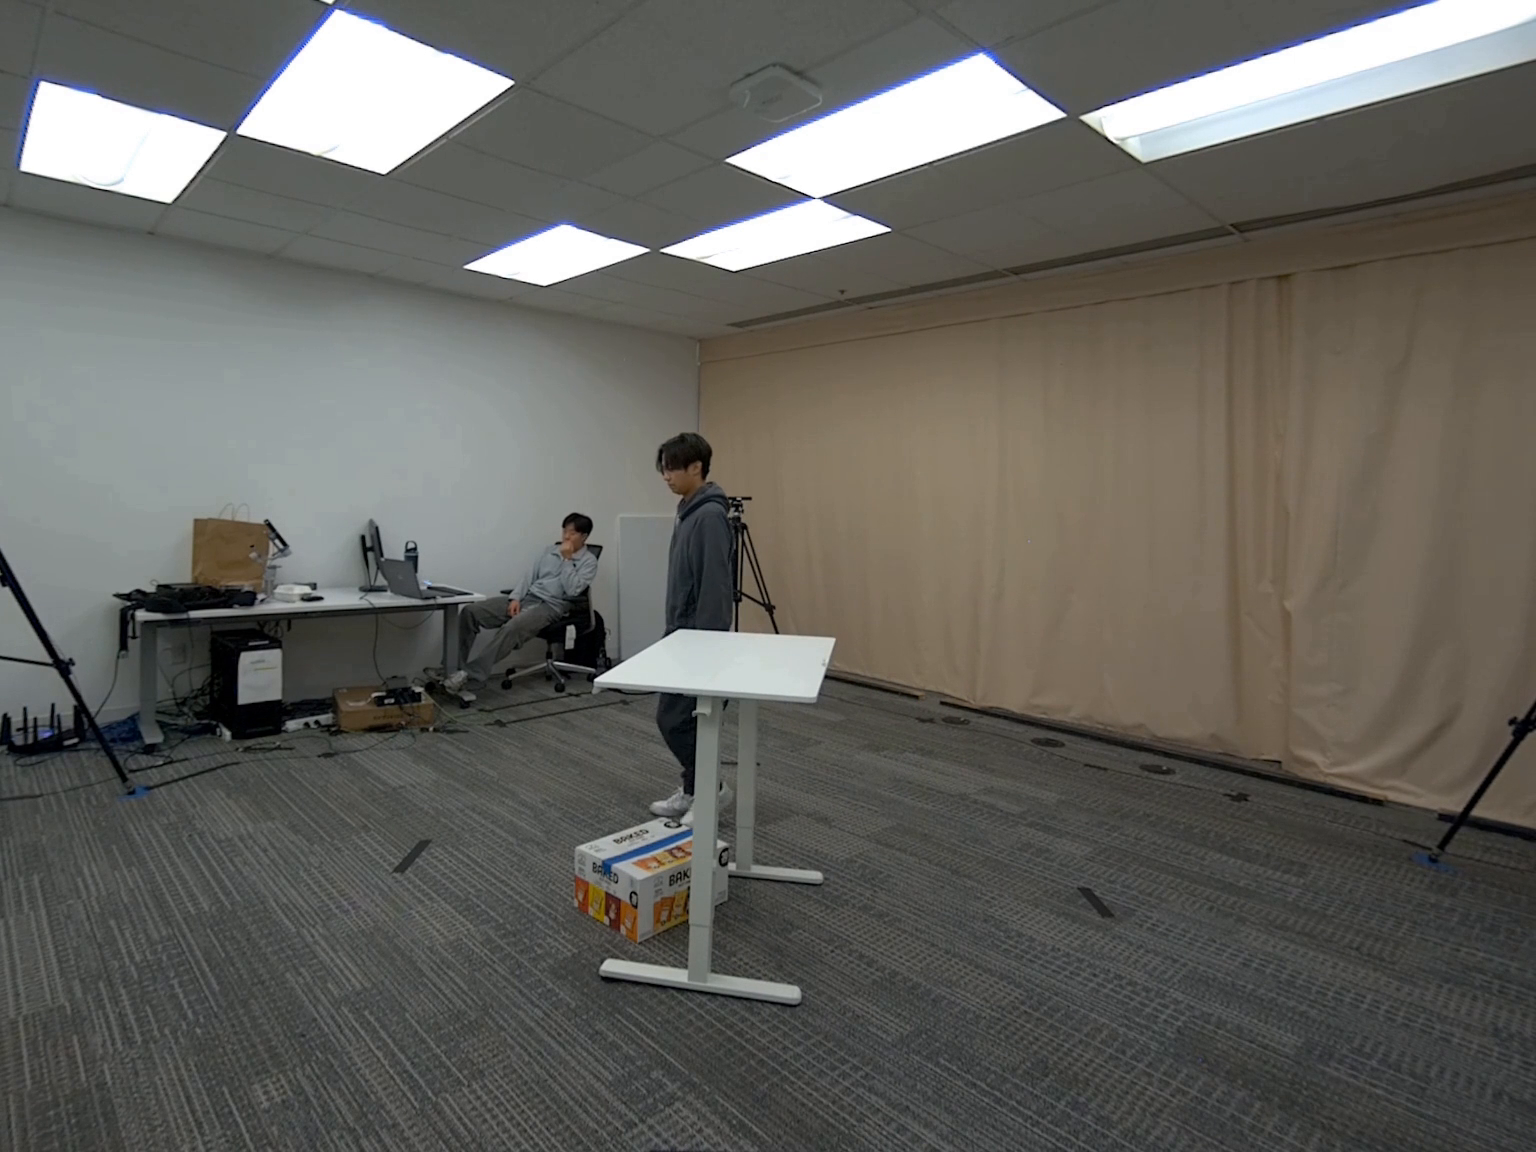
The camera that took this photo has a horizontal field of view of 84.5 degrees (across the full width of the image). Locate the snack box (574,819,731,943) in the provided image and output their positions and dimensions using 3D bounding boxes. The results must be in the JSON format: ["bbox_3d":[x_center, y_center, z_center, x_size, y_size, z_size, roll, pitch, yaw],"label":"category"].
[{"bbox_3d":[-0.404,1.022,2.867,0.349,0.205,0.396,5,6,42],"label":"snack box"}]
